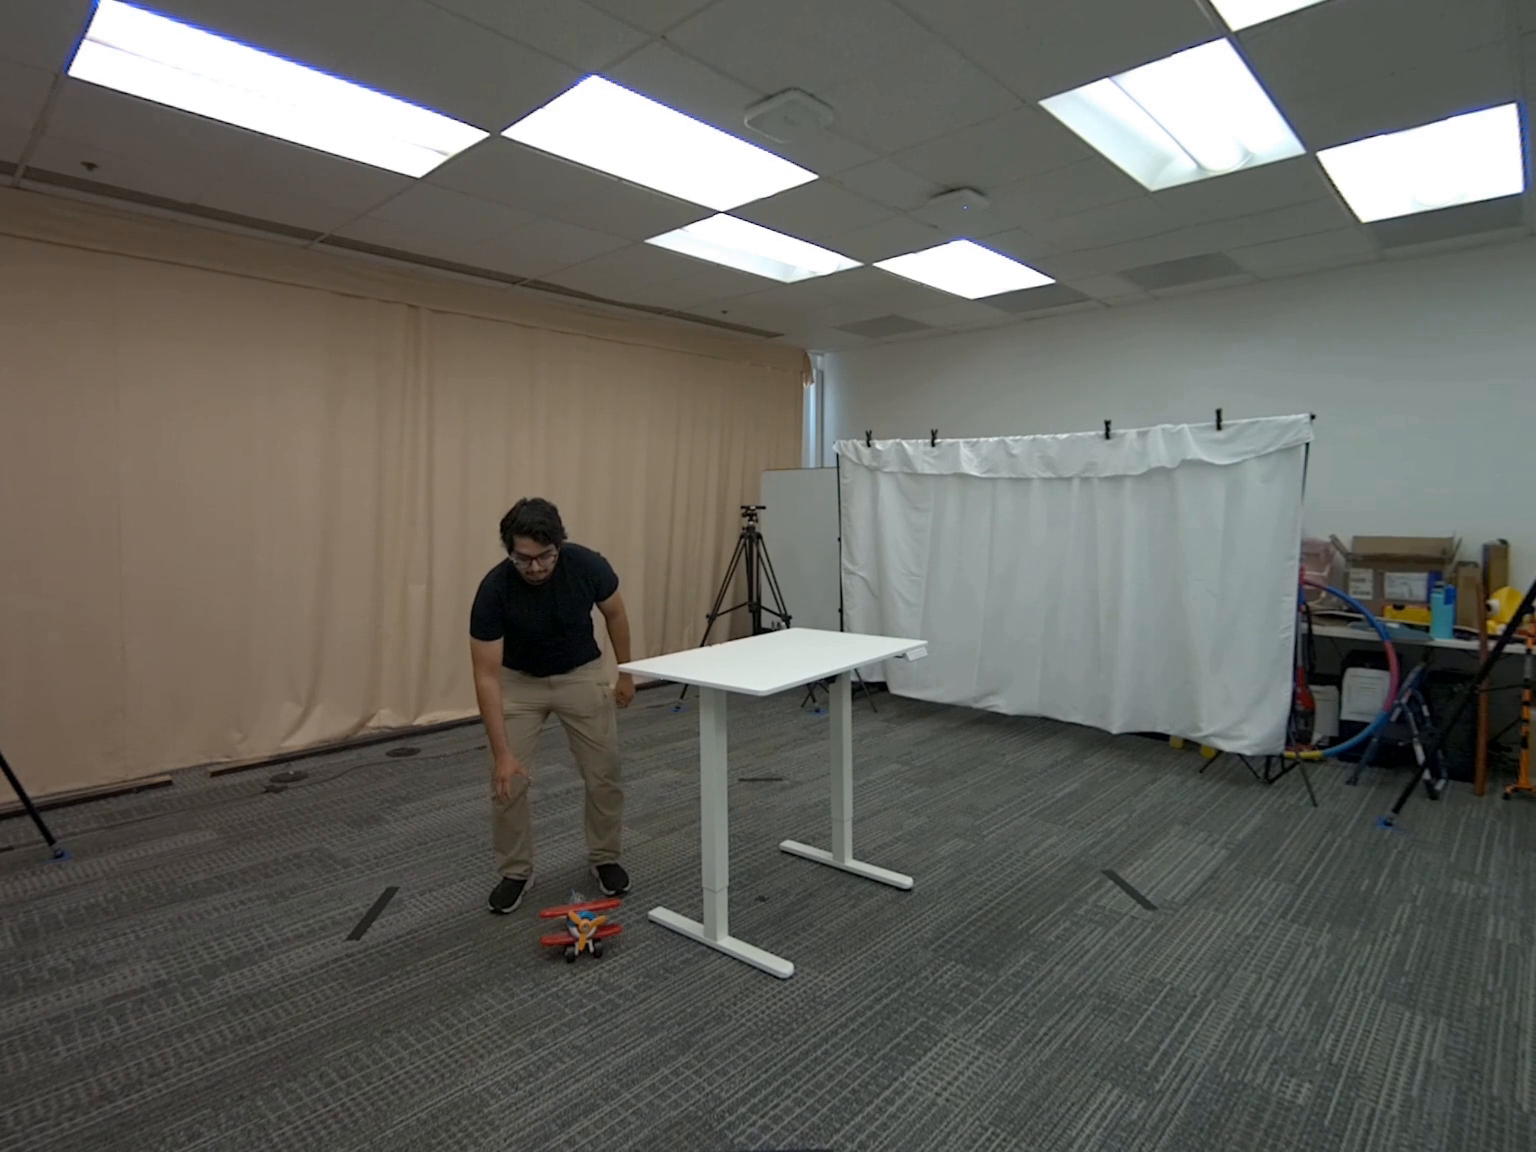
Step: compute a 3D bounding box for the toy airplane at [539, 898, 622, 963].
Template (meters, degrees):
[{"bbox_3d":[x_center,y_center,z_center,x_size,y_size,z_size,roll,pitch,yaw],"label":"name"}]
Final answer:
[{"bbox_3d":[-0.616,1.099,2.673,0.268,0.156,0.243,6,8,44],"label":"toy airplane"}]
